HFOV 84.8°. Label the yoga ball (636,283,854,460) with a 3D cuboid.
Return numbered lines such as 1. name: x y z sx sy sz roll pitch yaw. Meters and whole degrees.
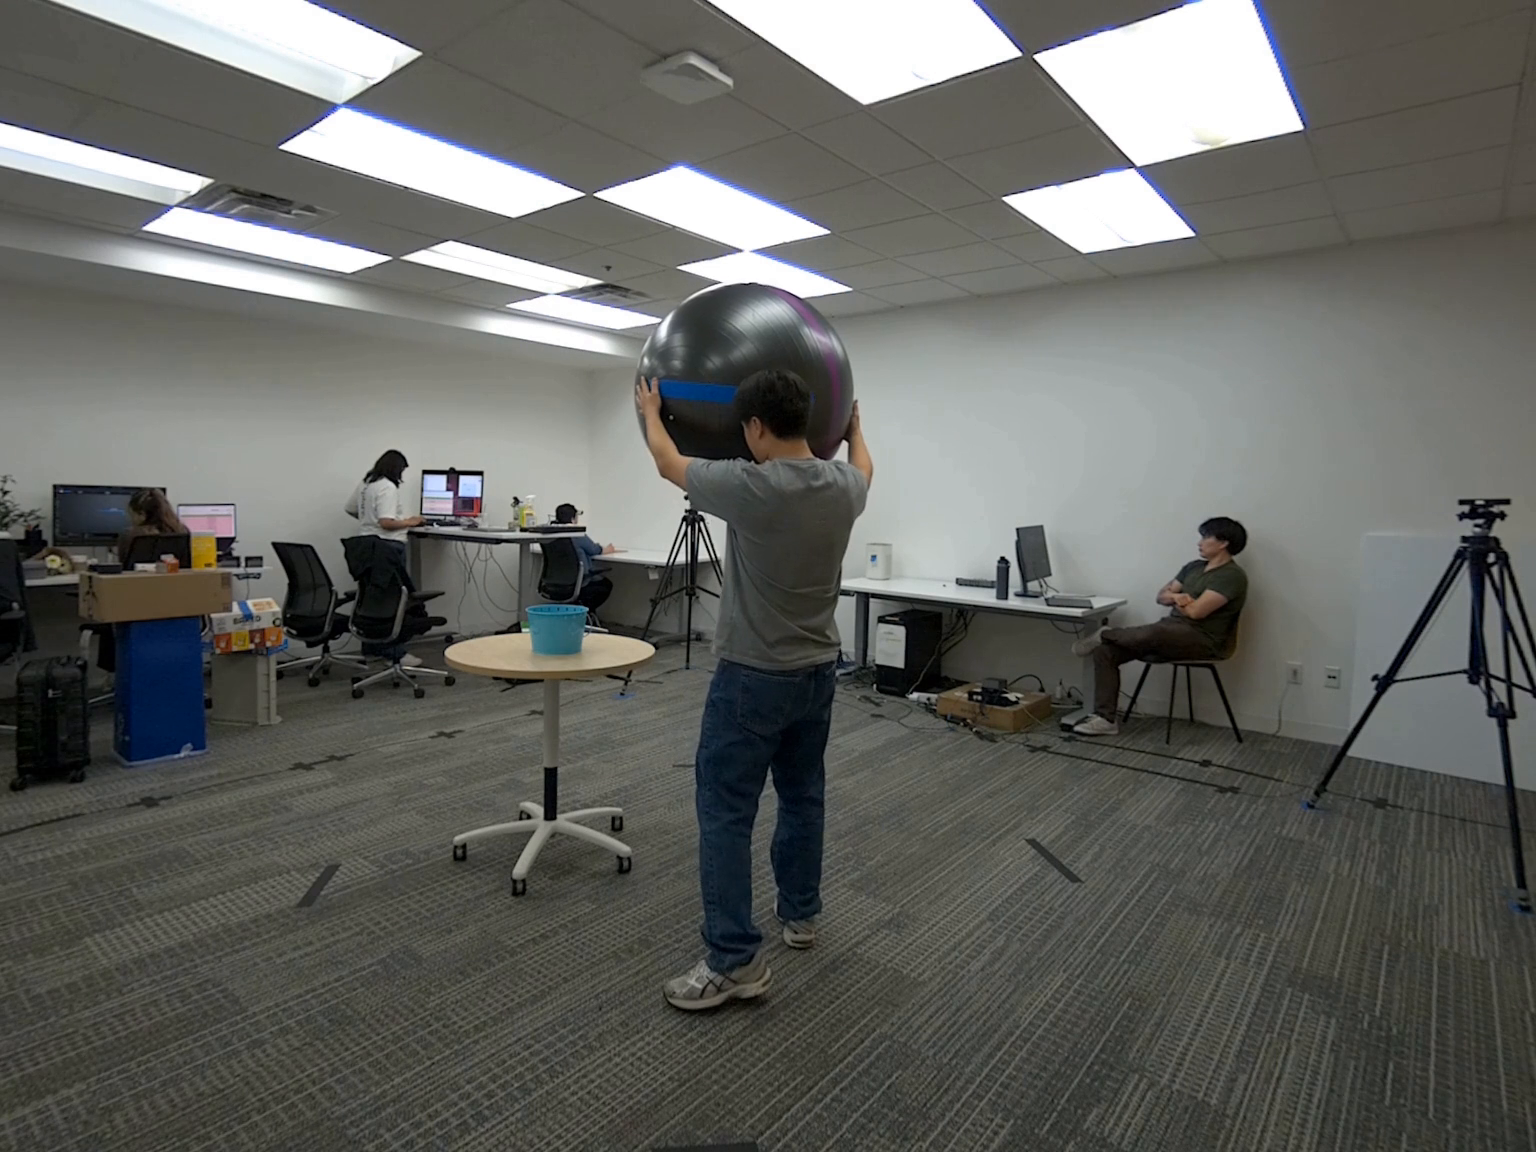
1. yoga ball: -0.099 -0.623 2.947 0.757 0.755 0.762 1 4 -2
